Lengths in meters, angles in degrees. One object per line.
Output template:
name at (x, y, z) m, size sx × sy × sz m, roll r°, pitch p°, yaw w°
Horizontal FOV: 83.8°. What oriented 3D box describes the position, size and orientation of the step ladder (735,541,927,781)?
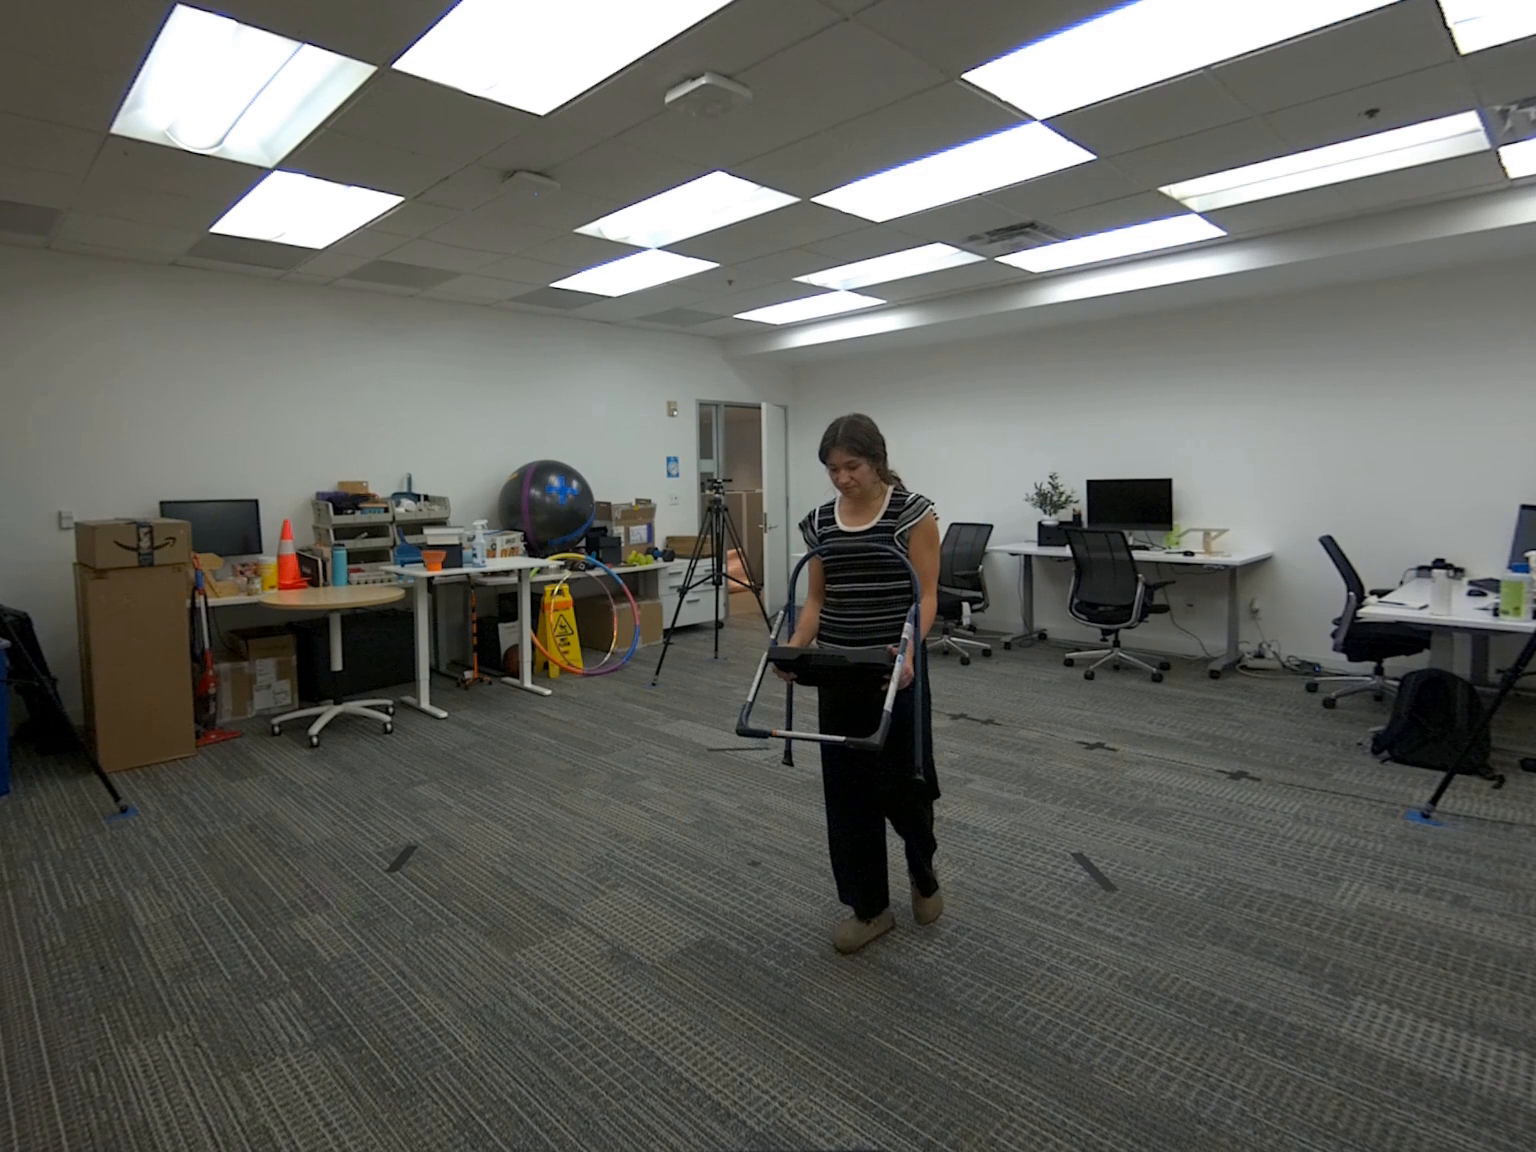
step ladder at (0.218, 0.221, 2.414) m, size 0.441 × 0.615 × 0.336 m, roll -3°, pitch -26°, yaw 30°
